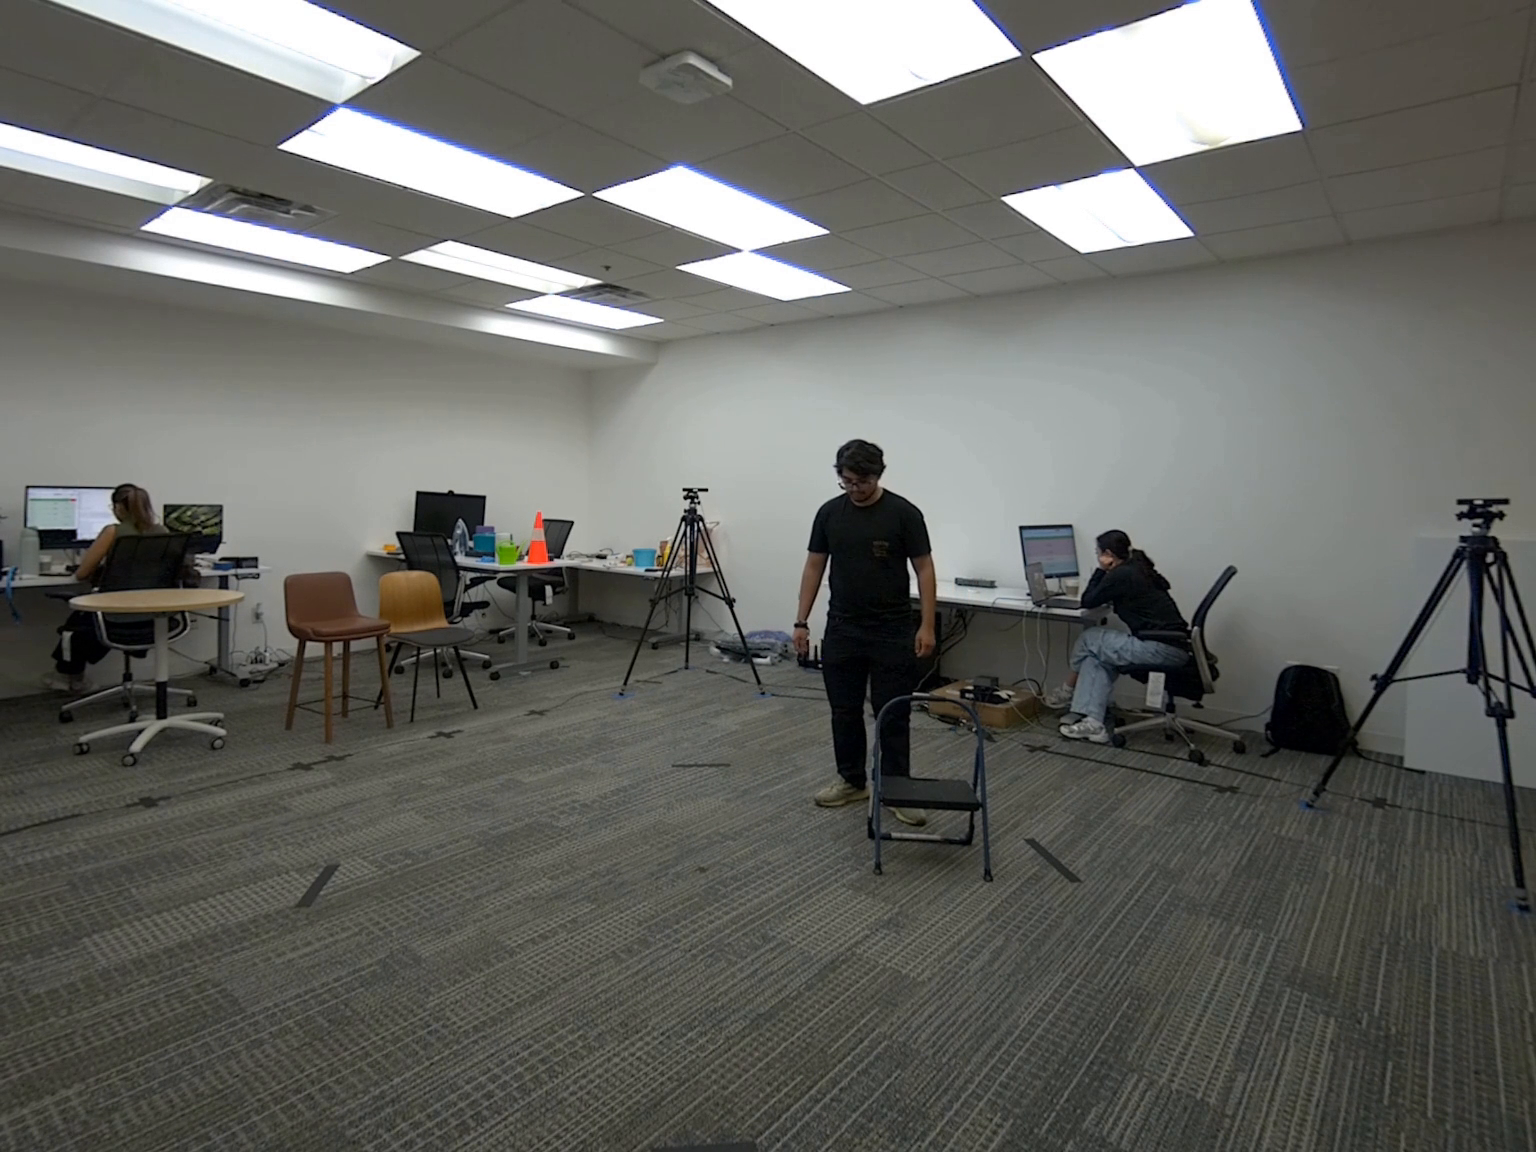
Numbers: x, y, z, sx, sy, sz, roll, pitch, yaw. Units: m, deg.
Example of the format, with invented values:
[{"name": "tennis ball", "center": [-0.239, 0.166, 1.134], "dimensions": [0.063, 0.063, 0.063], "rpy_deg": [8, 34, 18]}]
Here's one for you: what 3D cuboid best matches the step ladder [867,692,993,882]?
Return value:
[{"name": "step ladder", "center": [0.612, 0.775, 3.252], "dimensions": [0.433, 0.605, 0.348], "rpy_deg": [1, 2, 3]}]
